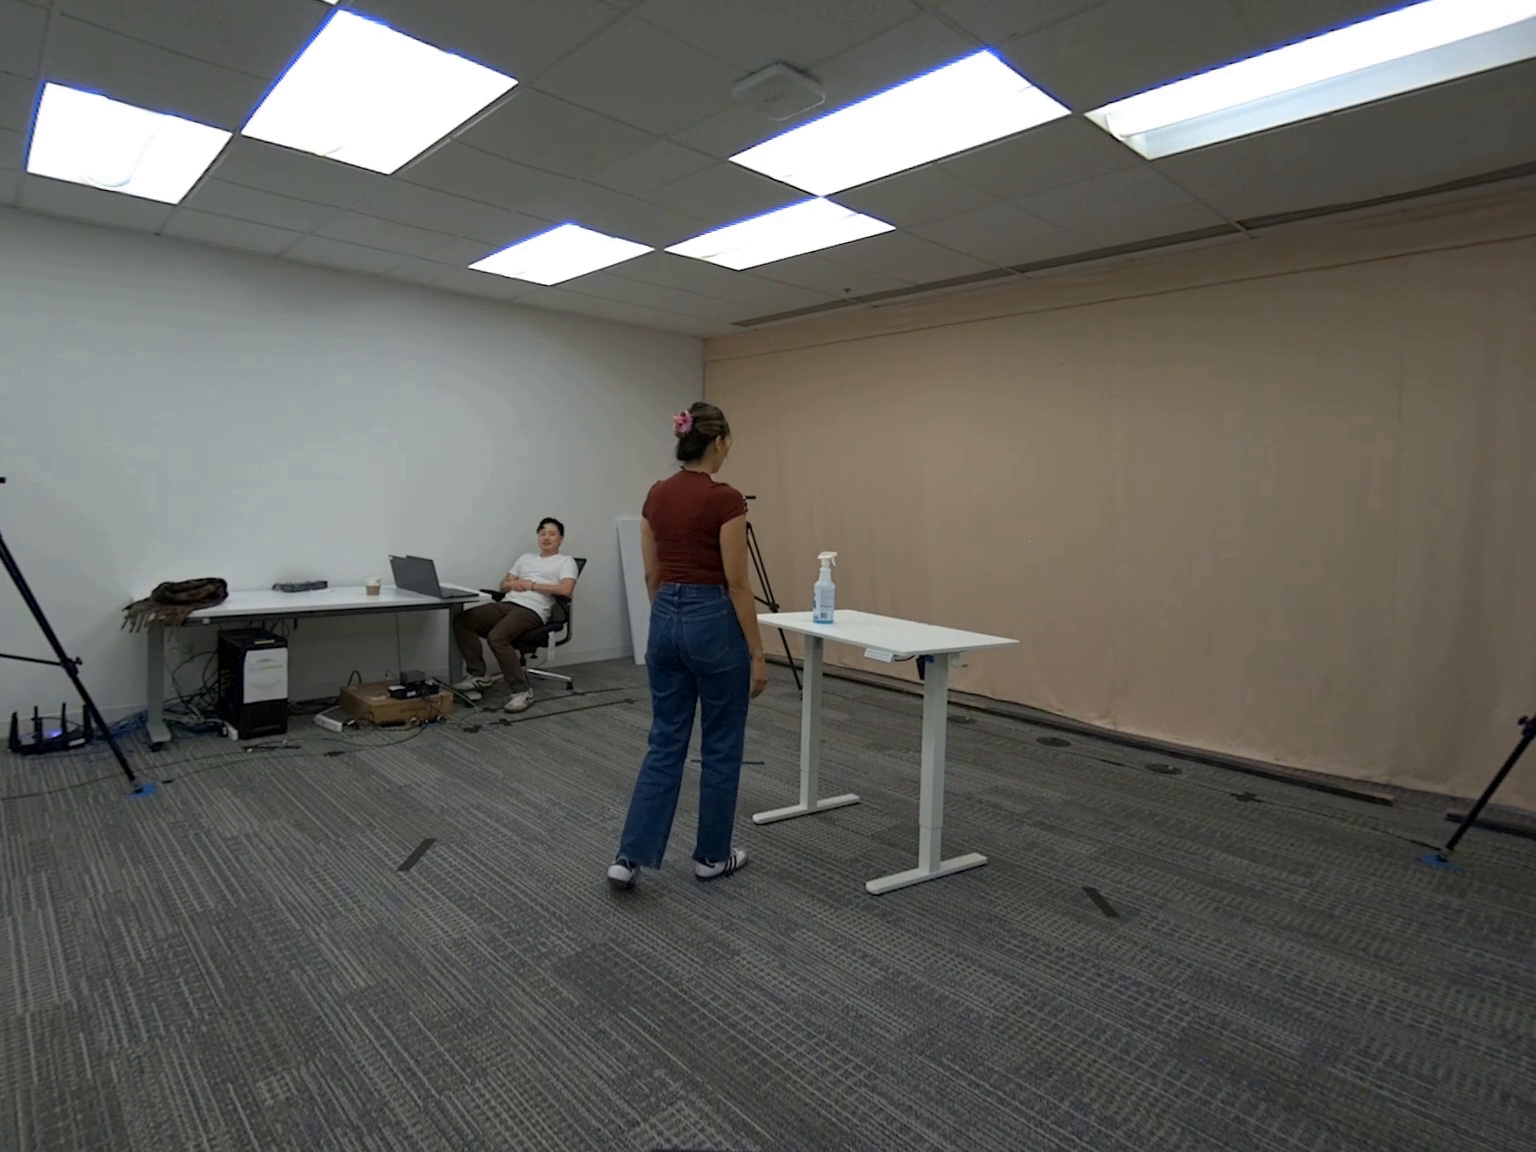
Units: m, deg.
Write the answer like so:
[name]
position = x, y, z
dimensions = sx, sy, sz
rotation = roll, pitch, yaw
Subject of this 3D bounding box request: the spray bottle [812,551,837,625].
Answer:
[spray bottle]
position = 0.232, 0.051, 3.501
dimensions = 0.085, 0.297, 0.092
rotation = 1, 3, -23
